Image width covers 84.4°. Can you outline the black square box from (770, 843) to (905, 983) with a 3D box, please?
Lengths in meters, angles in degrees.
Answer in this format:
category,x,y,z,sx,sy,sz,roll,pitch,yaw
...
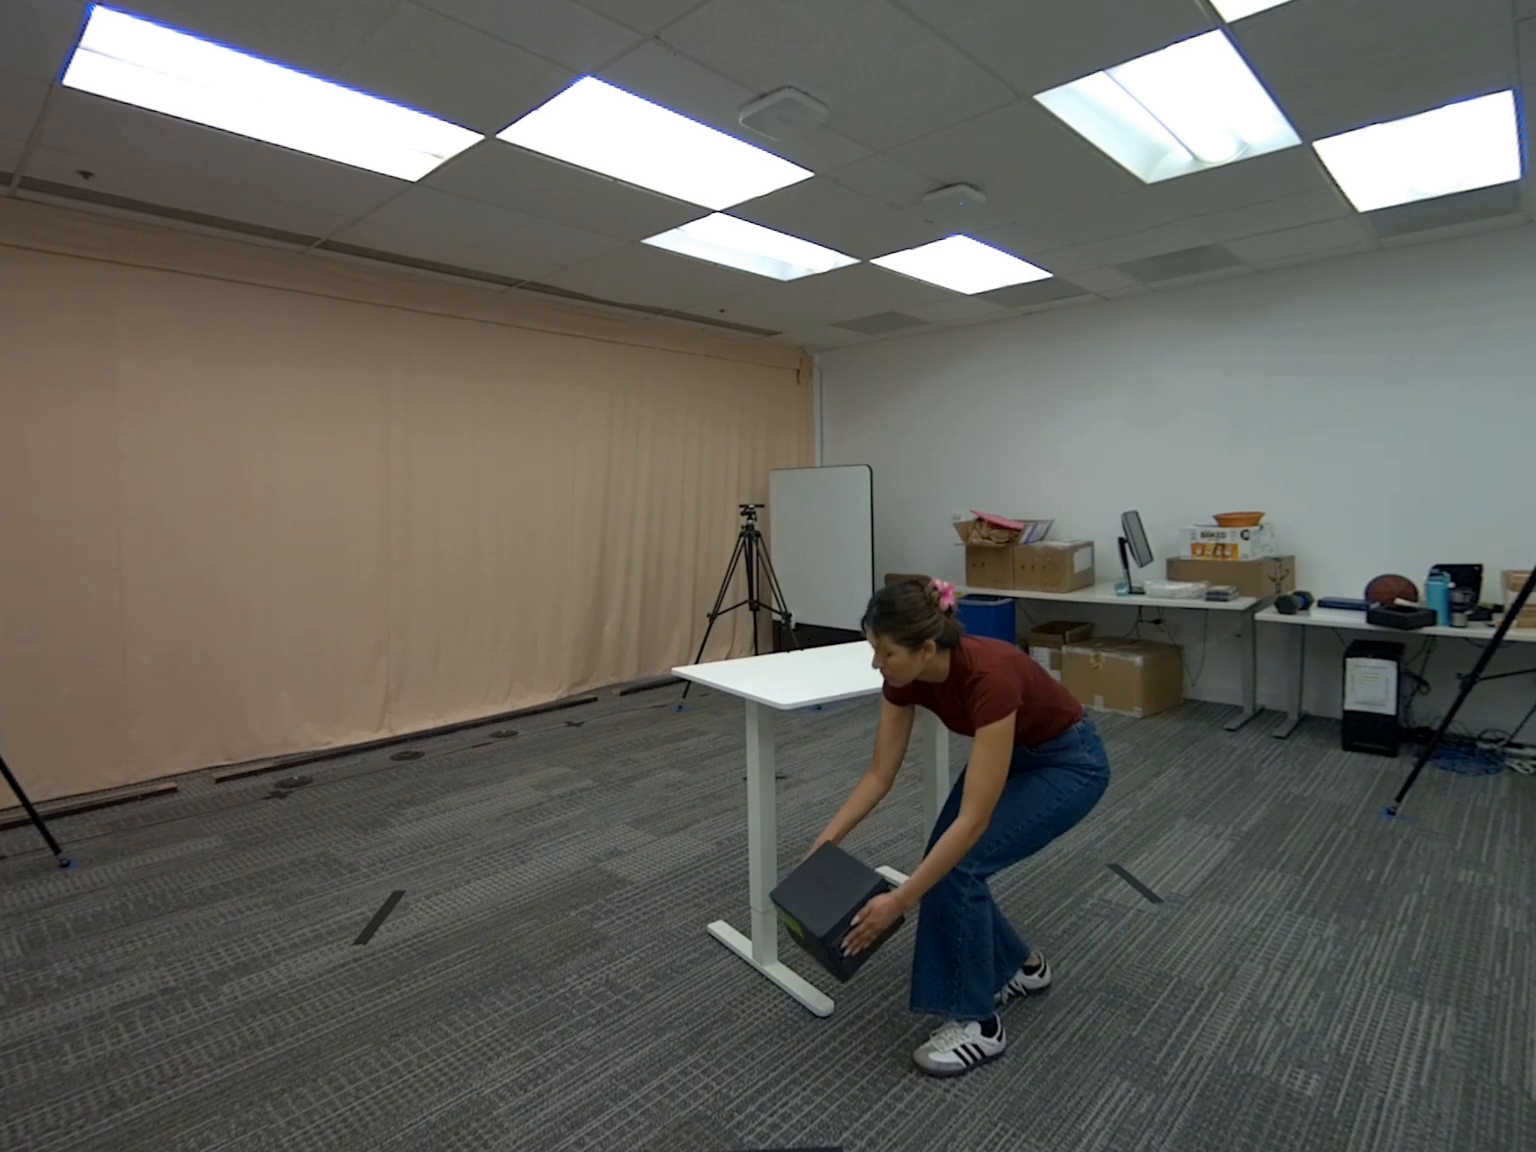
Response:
category,x,y,z,sx,sy,sz,roll,pitch,yaw
black square box,0.178,0.821,2.085,0.214,0.153,0.235,-34,22,-23
